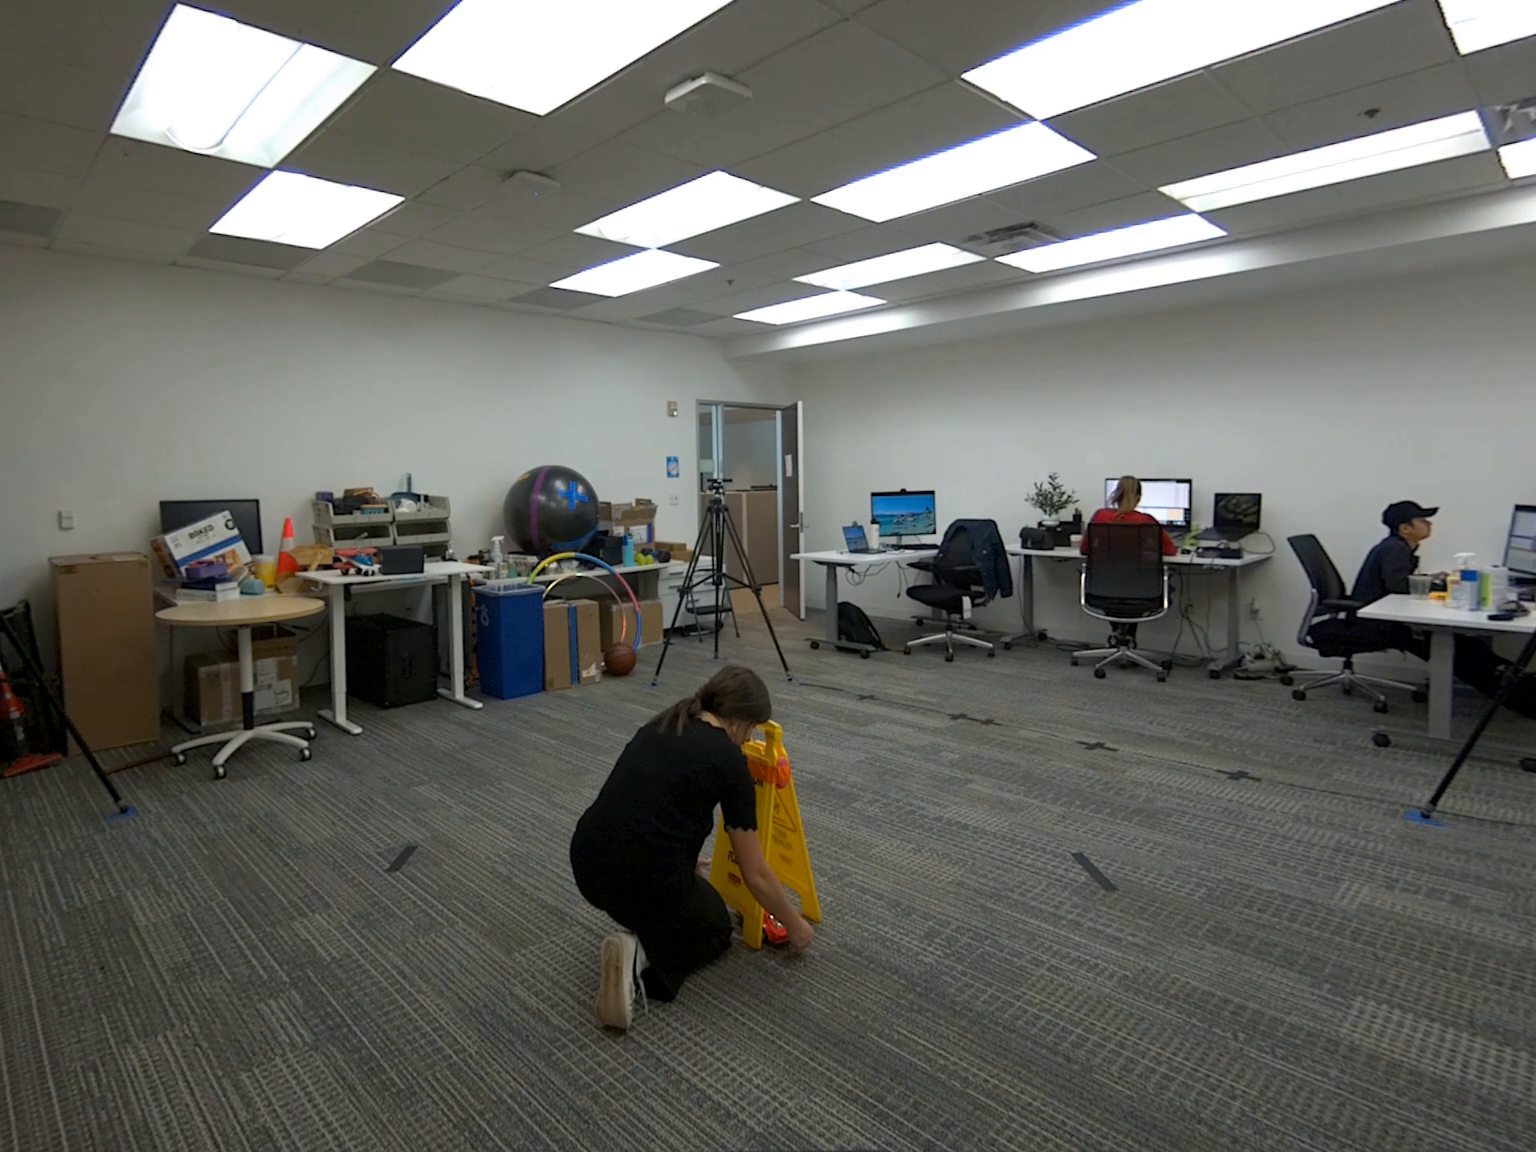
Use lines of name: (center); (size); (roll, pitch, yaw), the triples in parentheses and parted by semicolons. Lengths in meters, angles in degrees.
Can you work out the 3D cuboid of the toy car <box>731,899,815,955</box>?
toy car: (0.009, 1.065, 2.631); (0.127, 0.084, 0.259); (-5, -5, -31)
